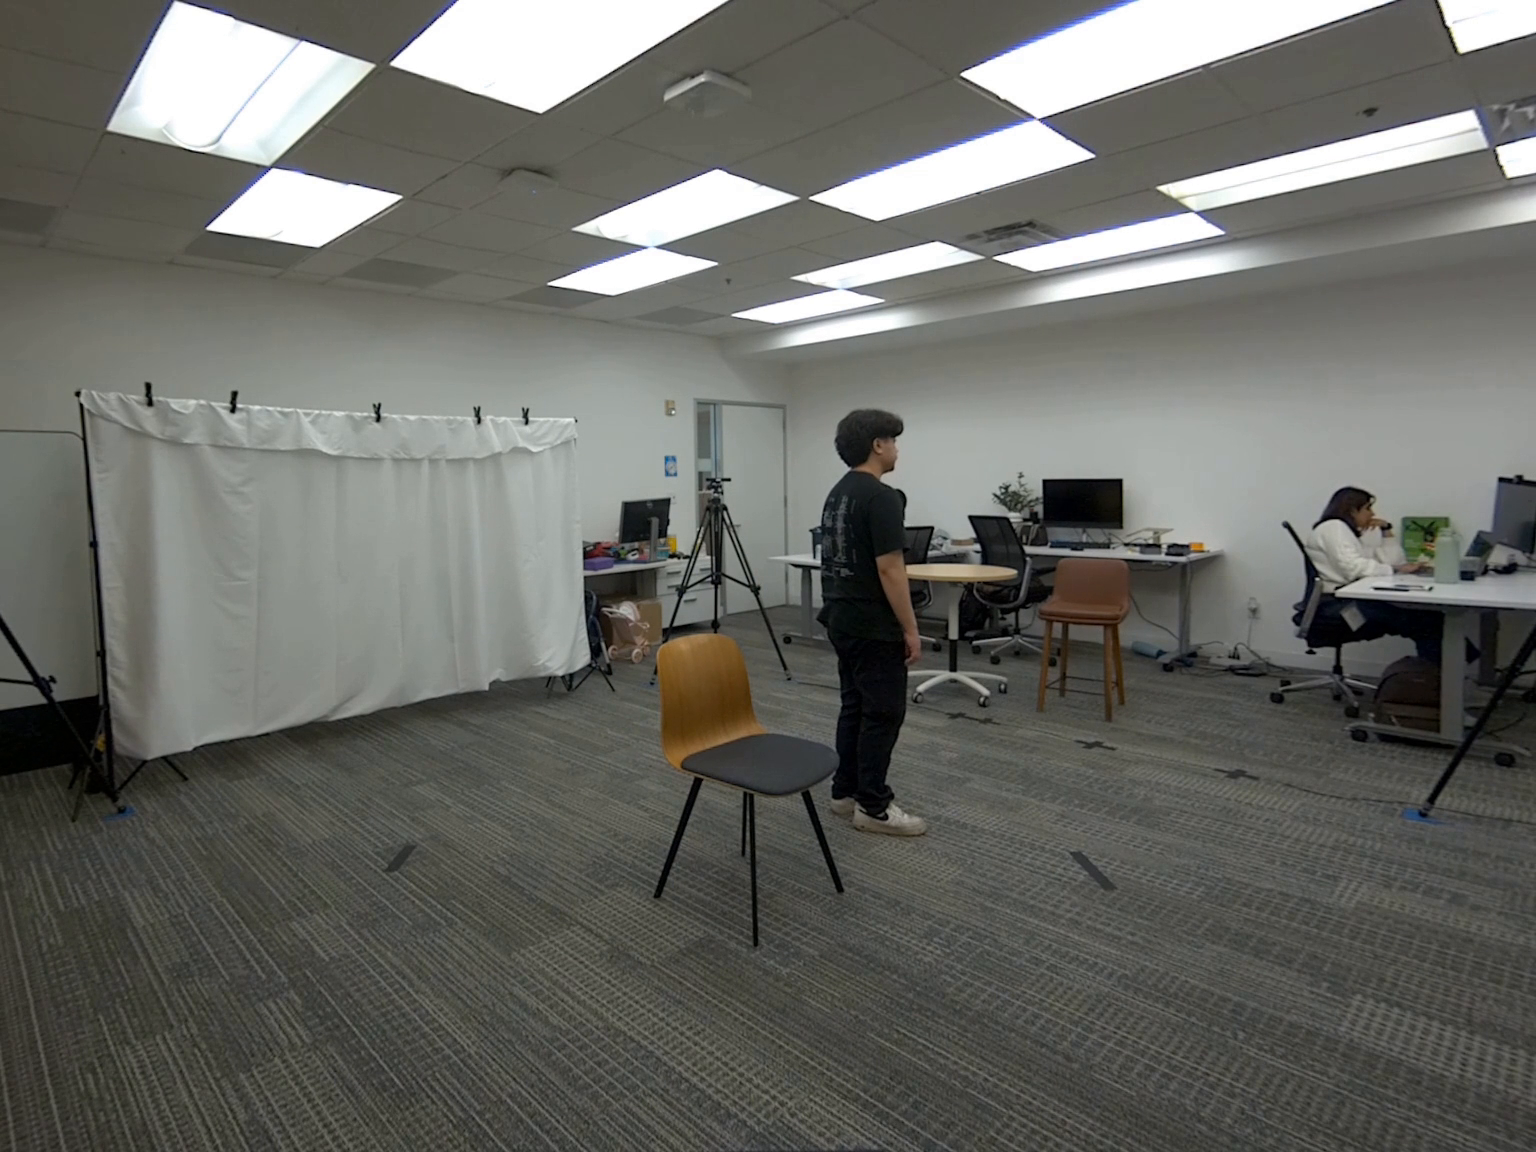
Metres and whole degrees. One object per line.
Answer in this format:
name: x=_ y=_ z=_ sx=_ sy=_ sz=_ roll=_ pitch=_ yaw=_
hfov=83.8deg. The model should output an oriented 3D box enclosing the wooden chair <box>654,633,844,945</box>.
wooden chair: x=-0.064 y=0.646 z=2.828 sx=0.537 sy=0.877 sz=0.465 roll=-3 pitch=1 yaw=42
